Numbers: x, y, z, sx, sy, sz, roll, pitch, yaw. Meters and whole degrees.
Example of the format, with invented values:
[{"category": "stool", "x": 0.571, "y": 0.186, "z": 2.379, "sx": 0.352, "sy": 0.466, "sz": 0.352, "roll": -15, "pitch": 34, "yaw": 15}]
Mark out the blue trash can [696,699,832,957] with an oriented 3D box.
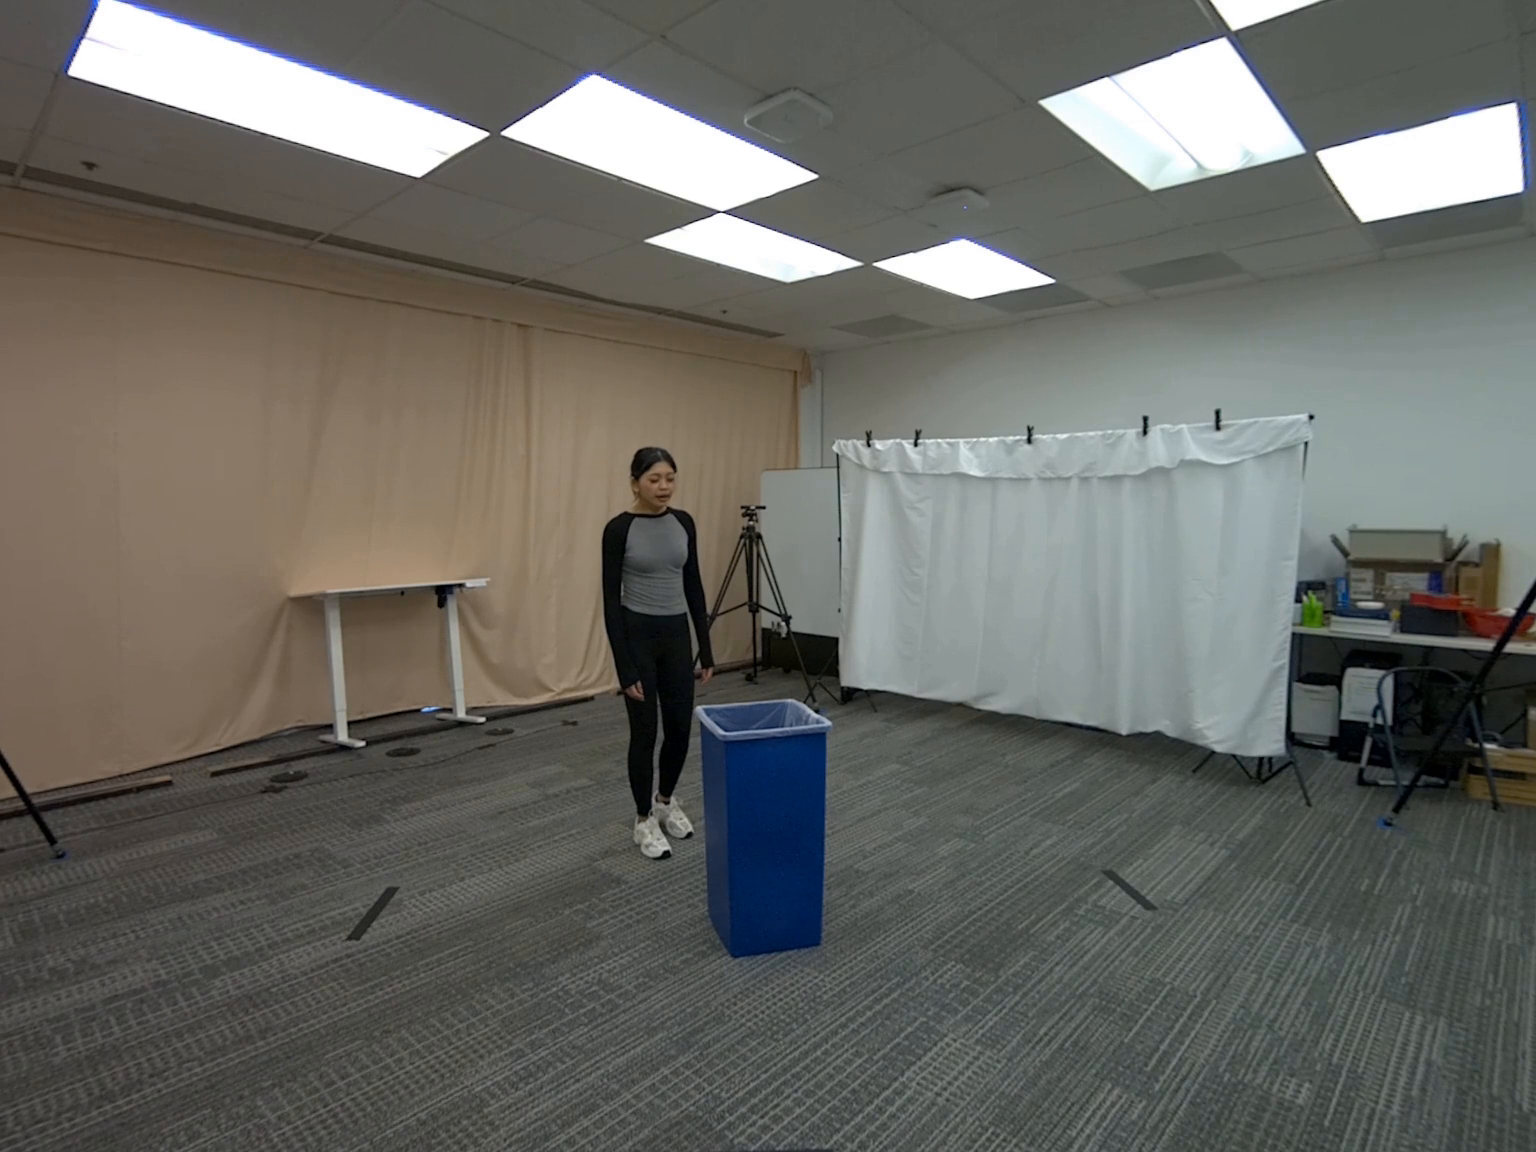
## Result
[{"category": "blue trash can", "x": -0.019, "y": 0.806, "z": 2.747, "sx": 0.368, "sy": 0.712, "sz": 0.385, "roll": -1, "pitch": 3, "yaw": -17}]
